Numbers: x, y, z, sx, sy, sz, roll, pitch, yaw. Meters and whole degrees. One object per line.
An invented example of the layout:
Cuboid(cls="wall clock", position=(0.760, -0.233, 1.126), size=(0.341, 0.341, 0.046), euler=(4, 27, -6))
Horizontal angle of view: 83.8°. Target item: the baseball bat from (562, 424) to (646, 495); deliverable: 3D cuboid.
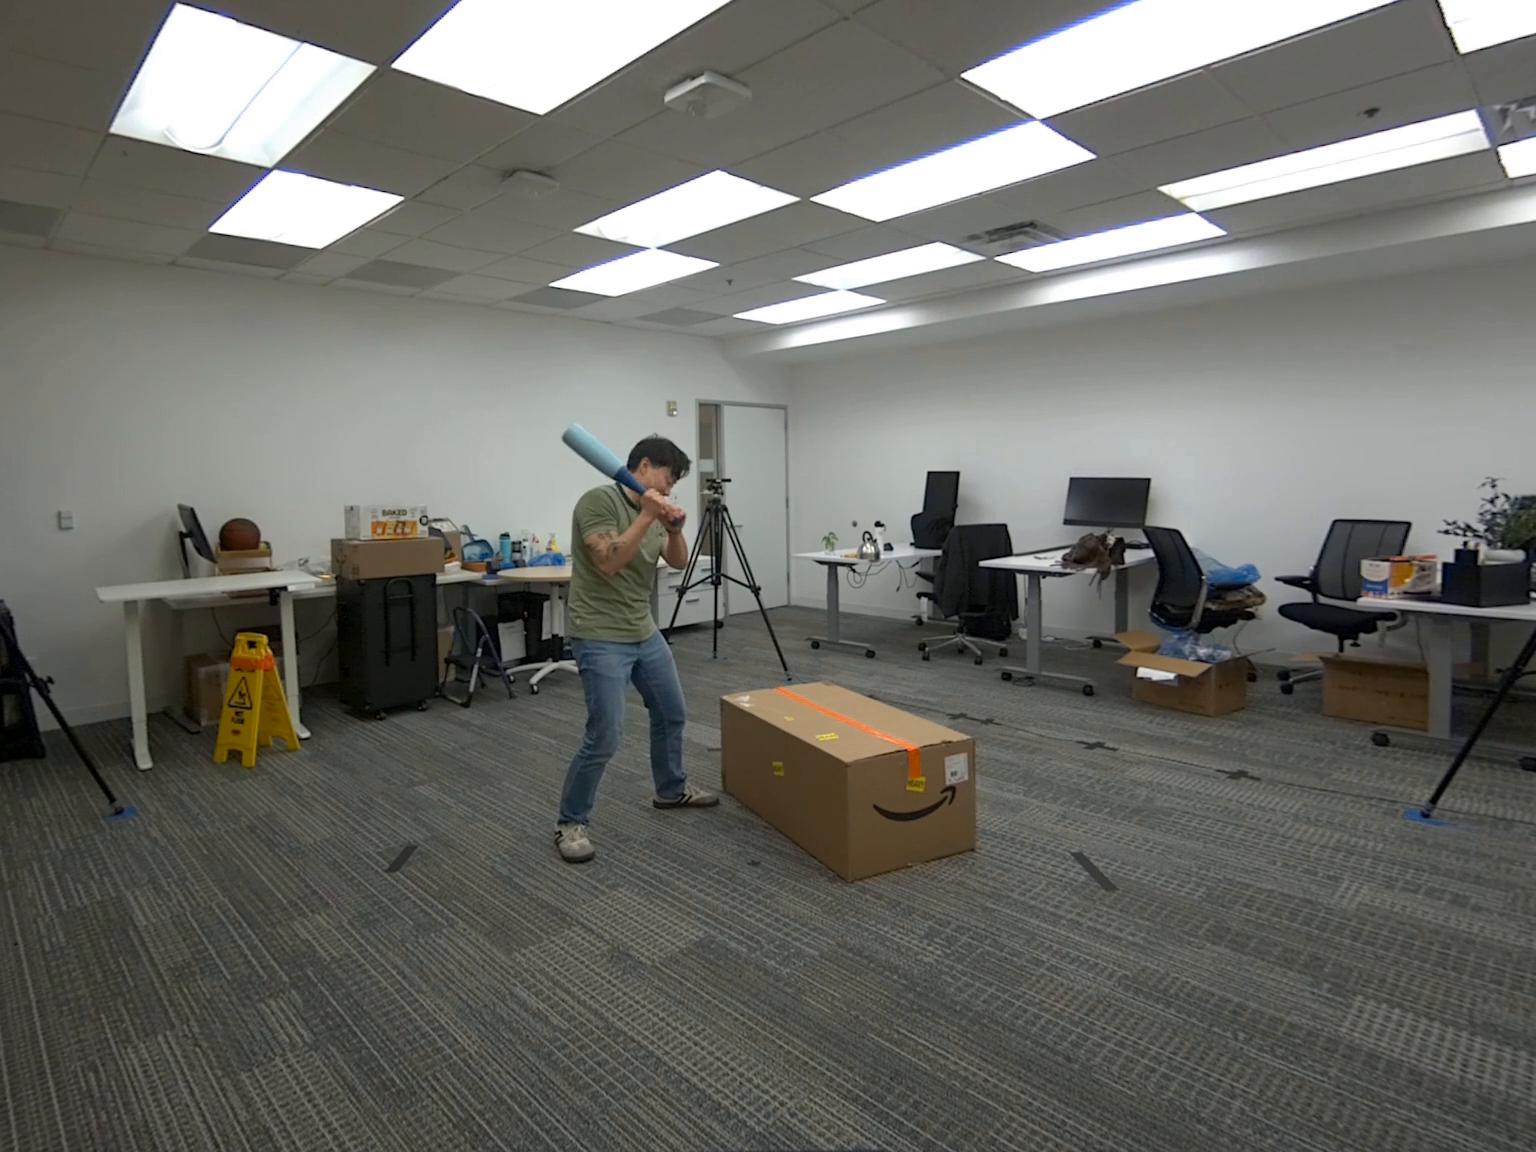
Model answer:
Cuboid(cls="baseball bat", position=(-0.512, -0.354, 3.168), size=(0.544, 0.089, 0.089), euler=(40, 5, 1))
